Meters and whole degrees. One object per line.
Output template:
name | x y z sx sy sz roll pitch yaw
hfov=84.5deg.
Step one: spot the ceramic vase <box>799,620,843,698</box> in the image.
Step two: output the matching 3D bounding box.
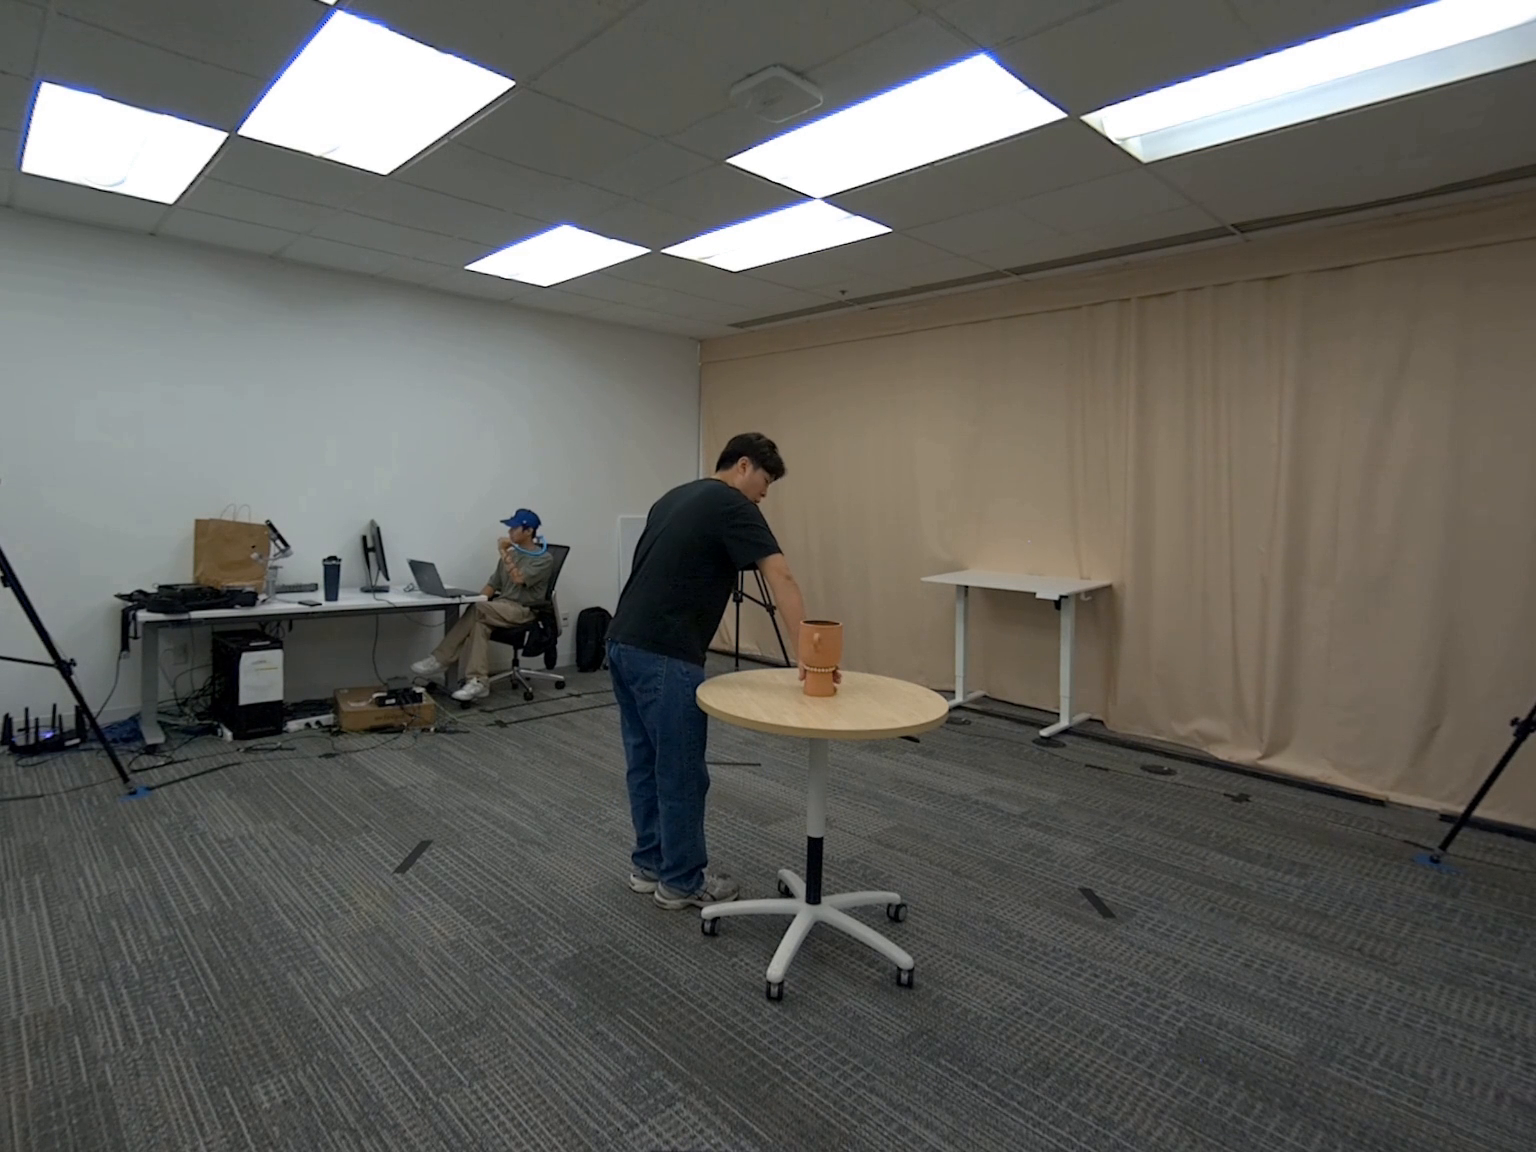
ceramic vase | 0.150 0.253 2.591 0.155 0.219 0.138 -1 5 -38
